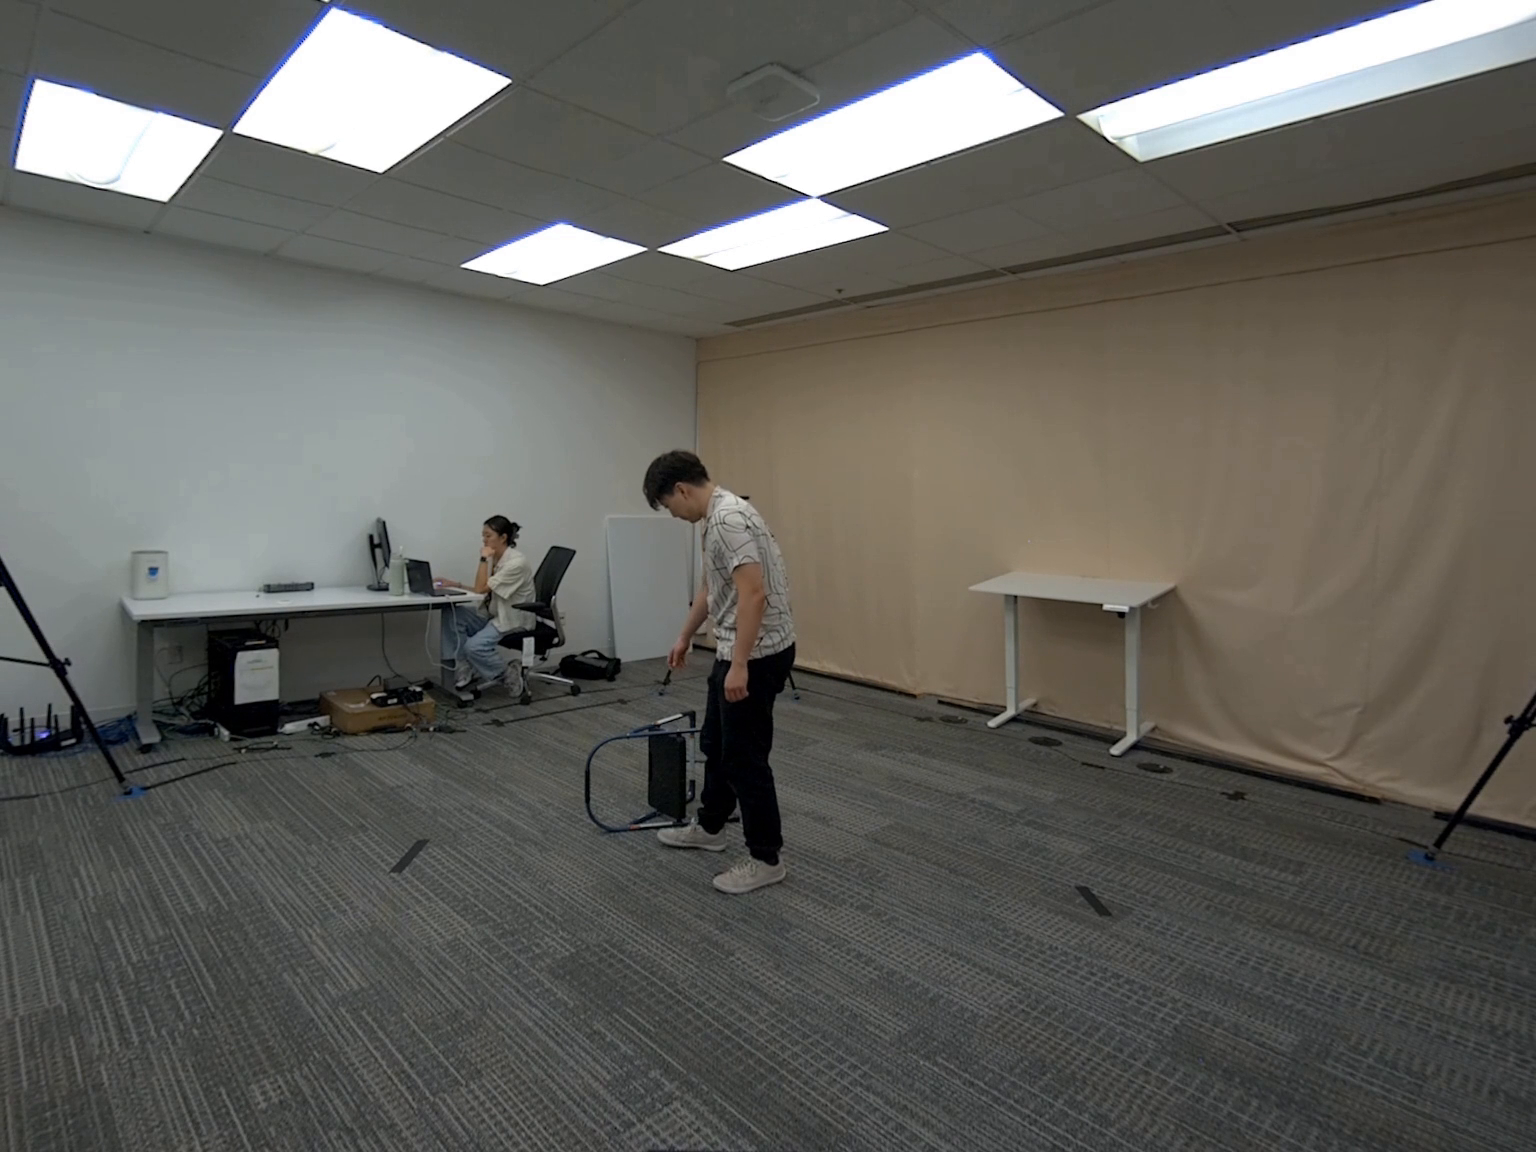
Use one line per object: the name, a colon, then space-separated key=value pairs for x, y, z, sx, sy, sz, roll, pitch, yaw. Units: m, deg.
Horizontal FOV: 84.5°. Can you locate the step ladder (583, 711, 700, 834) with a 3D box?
step ladder: x=-0.472 y=0.845 z=3.559 sx=0.592 sy=0.430 sz=0.358 roll=-2 pitch=4 yaw=-39
